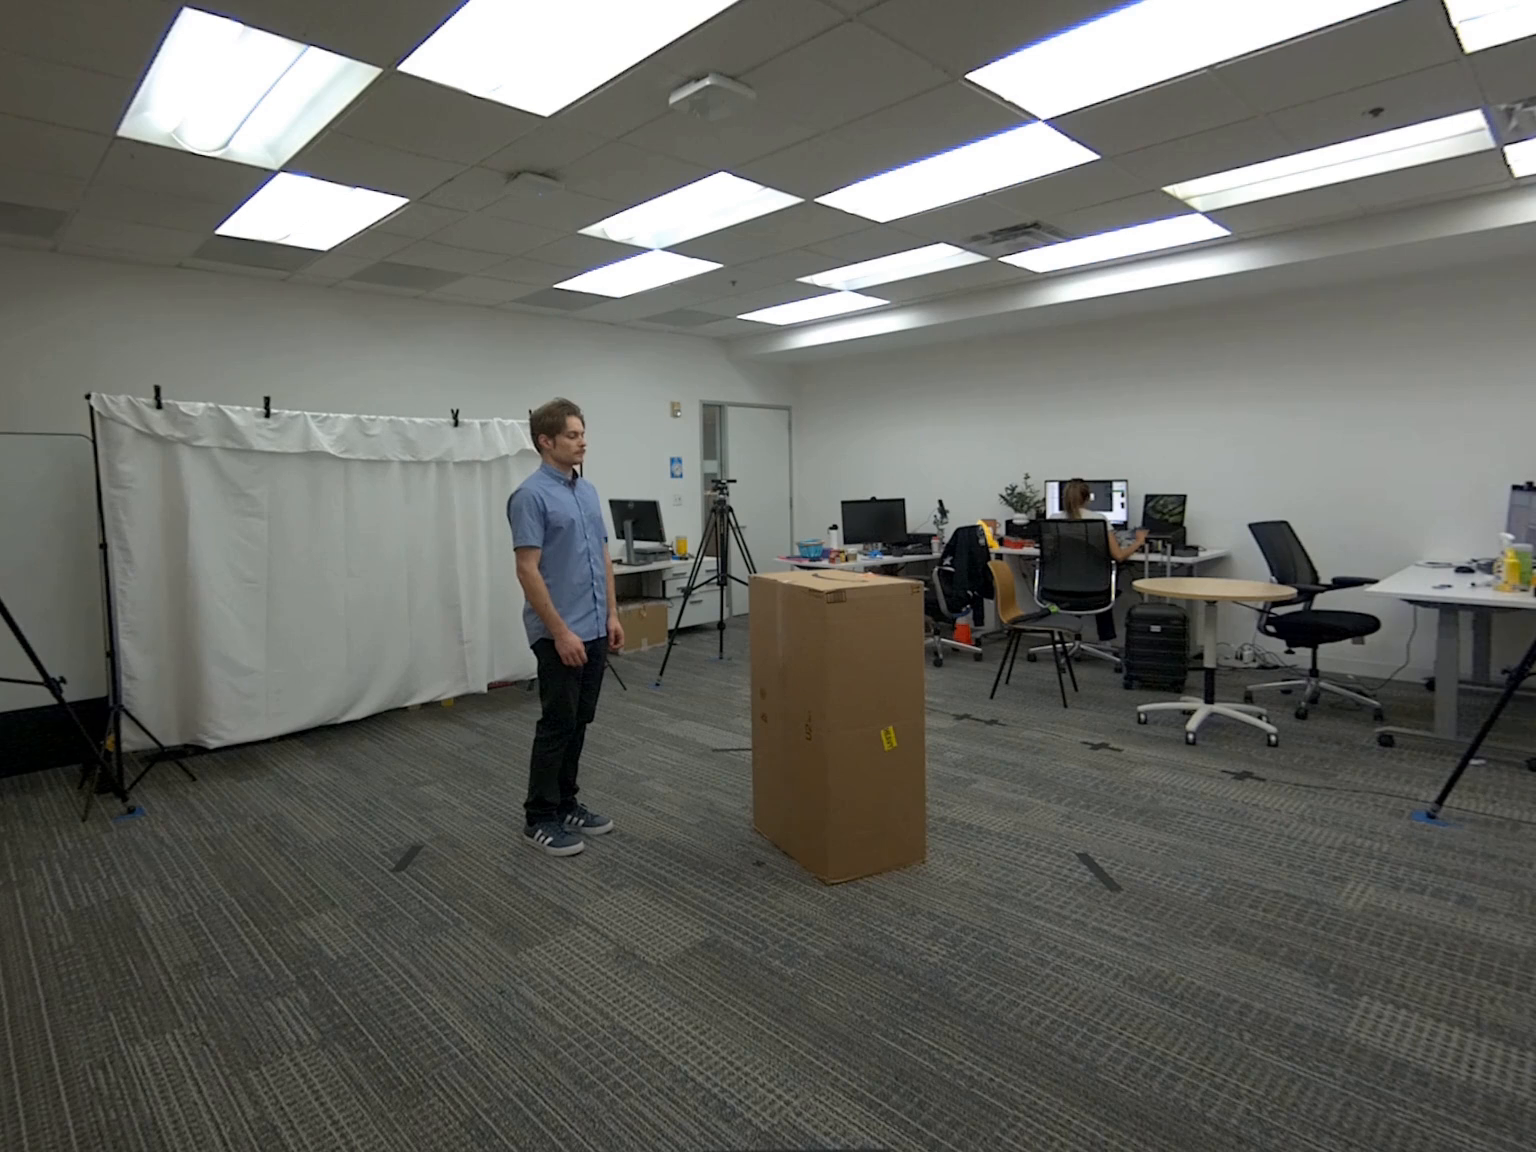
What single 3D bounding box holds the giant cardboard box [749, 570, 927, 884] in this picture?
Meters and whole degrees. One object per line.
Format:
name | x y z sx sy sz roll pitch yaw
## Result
giant cardboard box | 0.249 0.517 3.242 0.417 1.022 0.592 -3 4 -27
